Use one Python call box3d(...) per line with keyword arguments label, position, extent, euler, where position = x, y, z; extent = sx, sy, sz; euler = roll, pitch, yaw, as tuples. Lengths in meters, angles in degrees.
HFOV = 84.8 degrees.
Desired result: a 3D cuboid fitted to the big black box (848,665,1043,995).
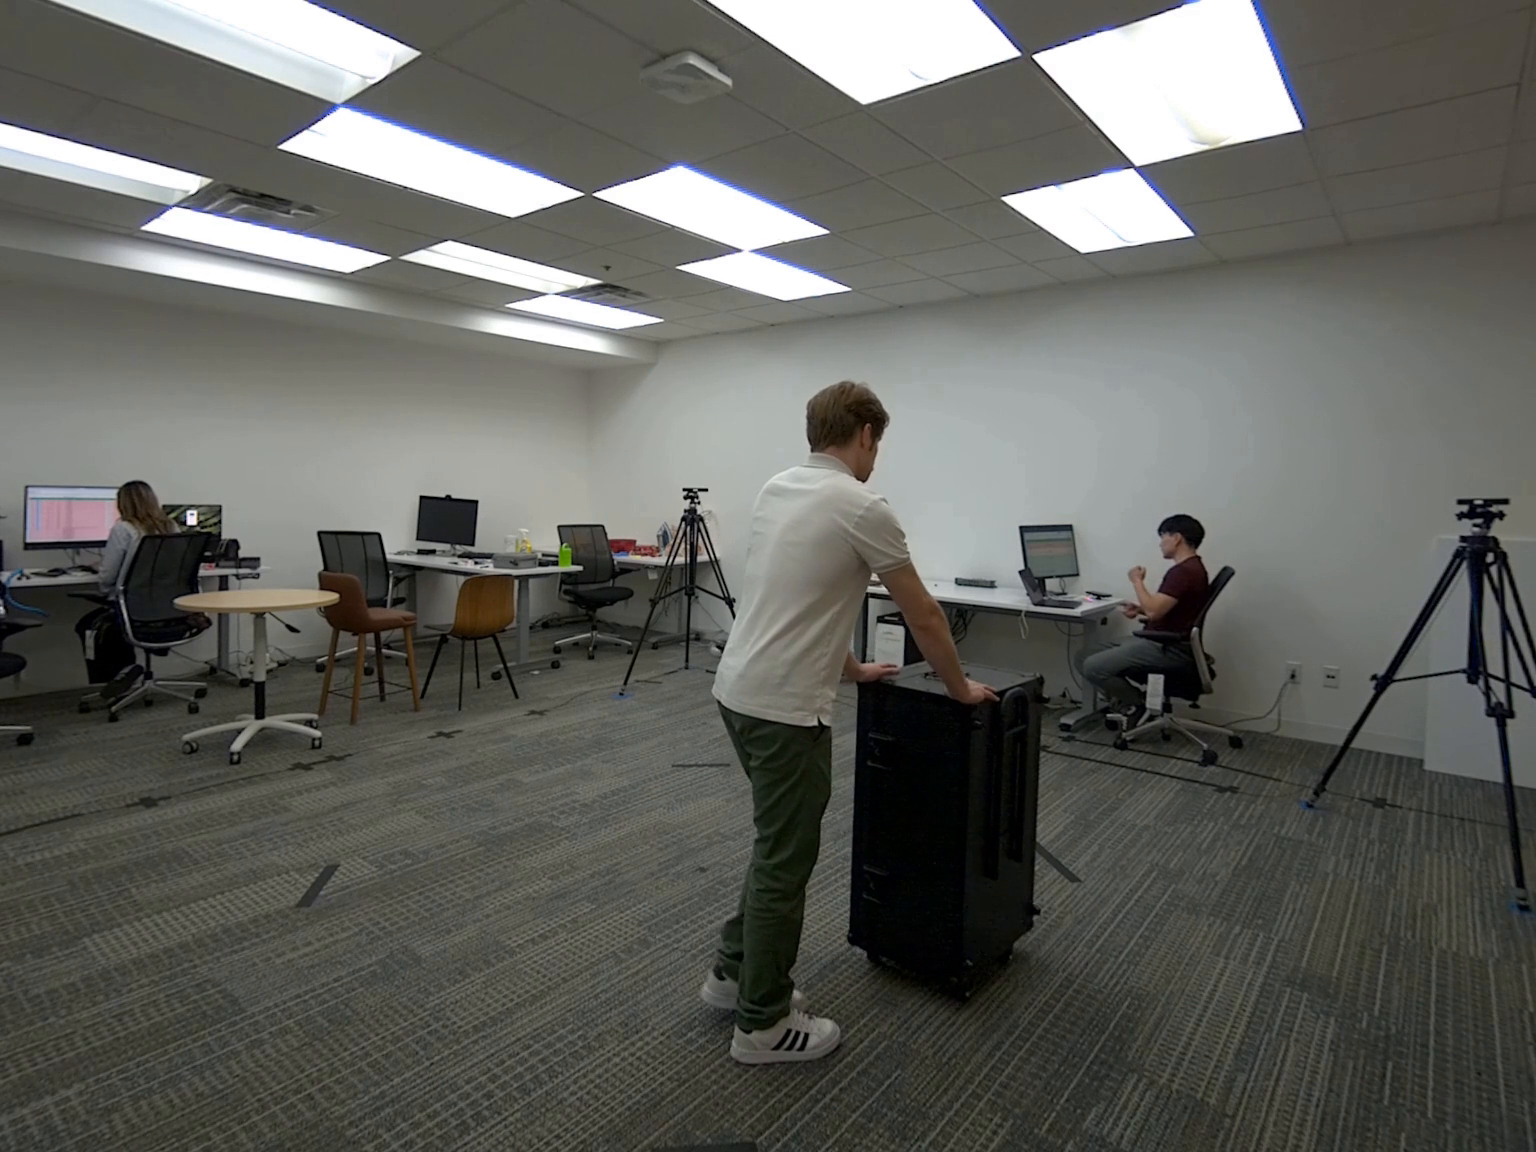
box3d(label="big black box", position=(0.532, 0.719, 2.535), extent=(0.398, 0.866, 0.508), euler=(4, 4, 40))
